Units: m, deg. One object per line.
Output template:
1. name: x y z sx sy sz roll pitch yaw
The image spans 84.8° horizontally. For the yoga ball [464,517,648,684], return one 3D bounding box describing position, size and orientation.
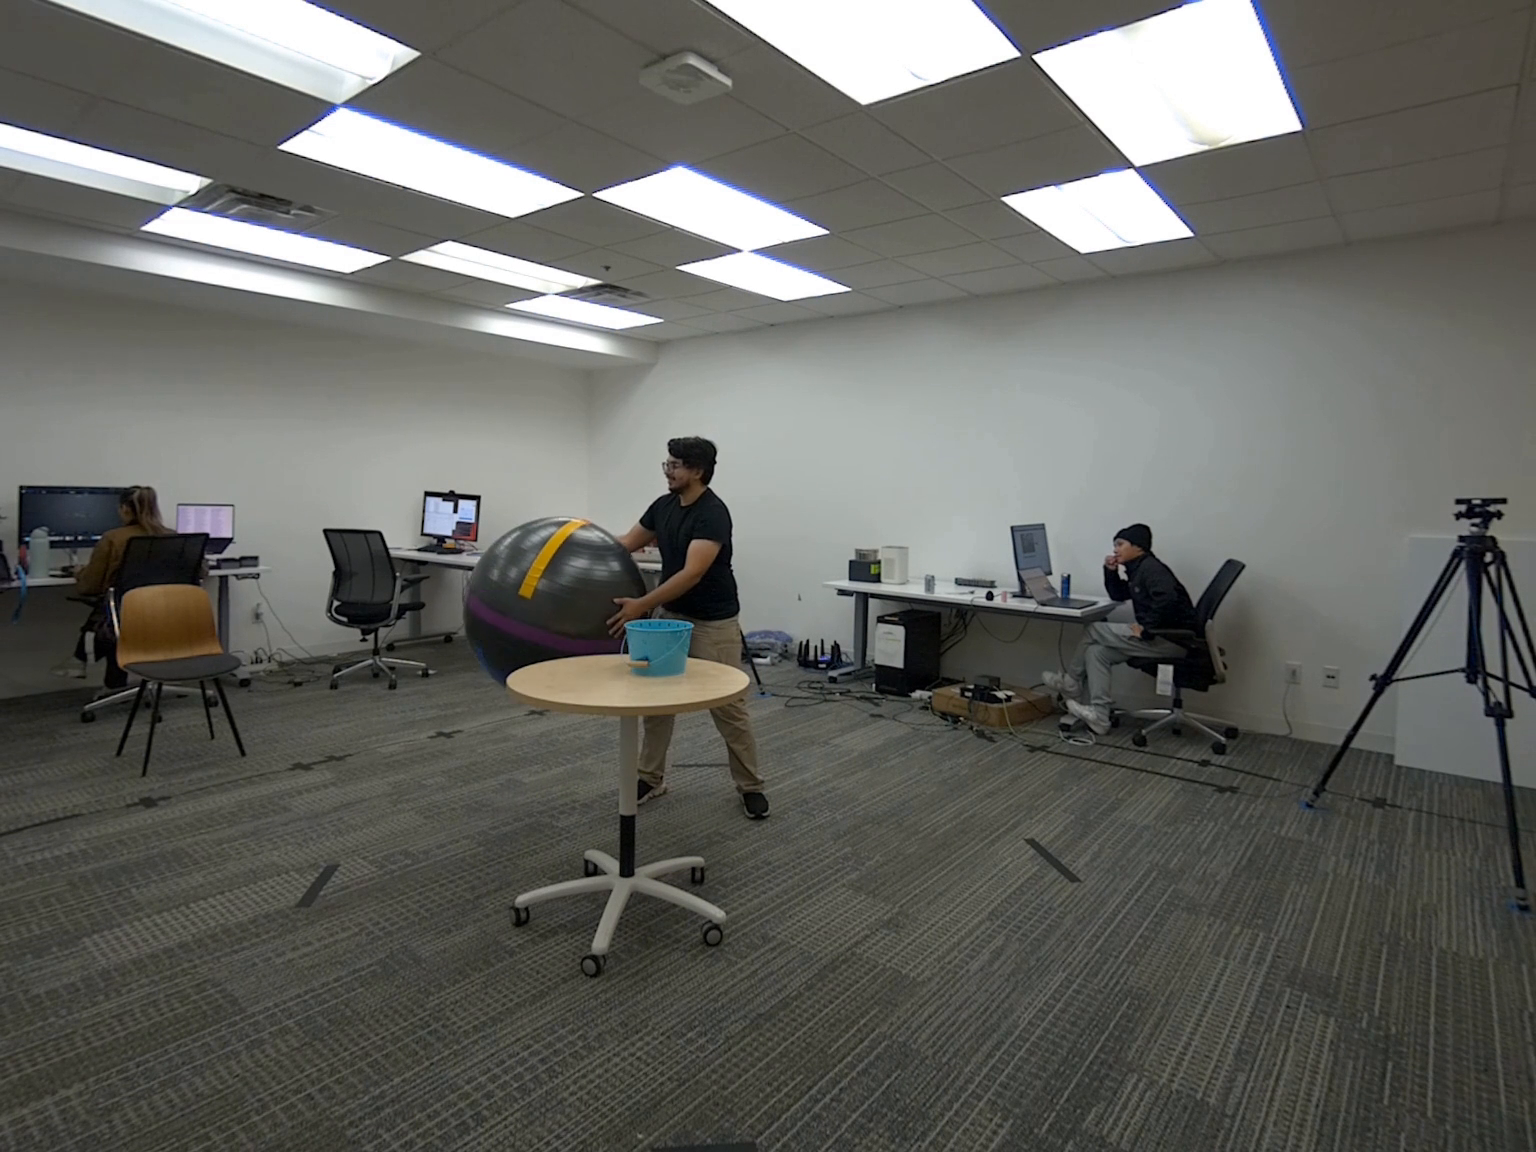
1. yoga ball: -0.902 0.136 3.548 0.757 0.755 0.762 1 4 -2
